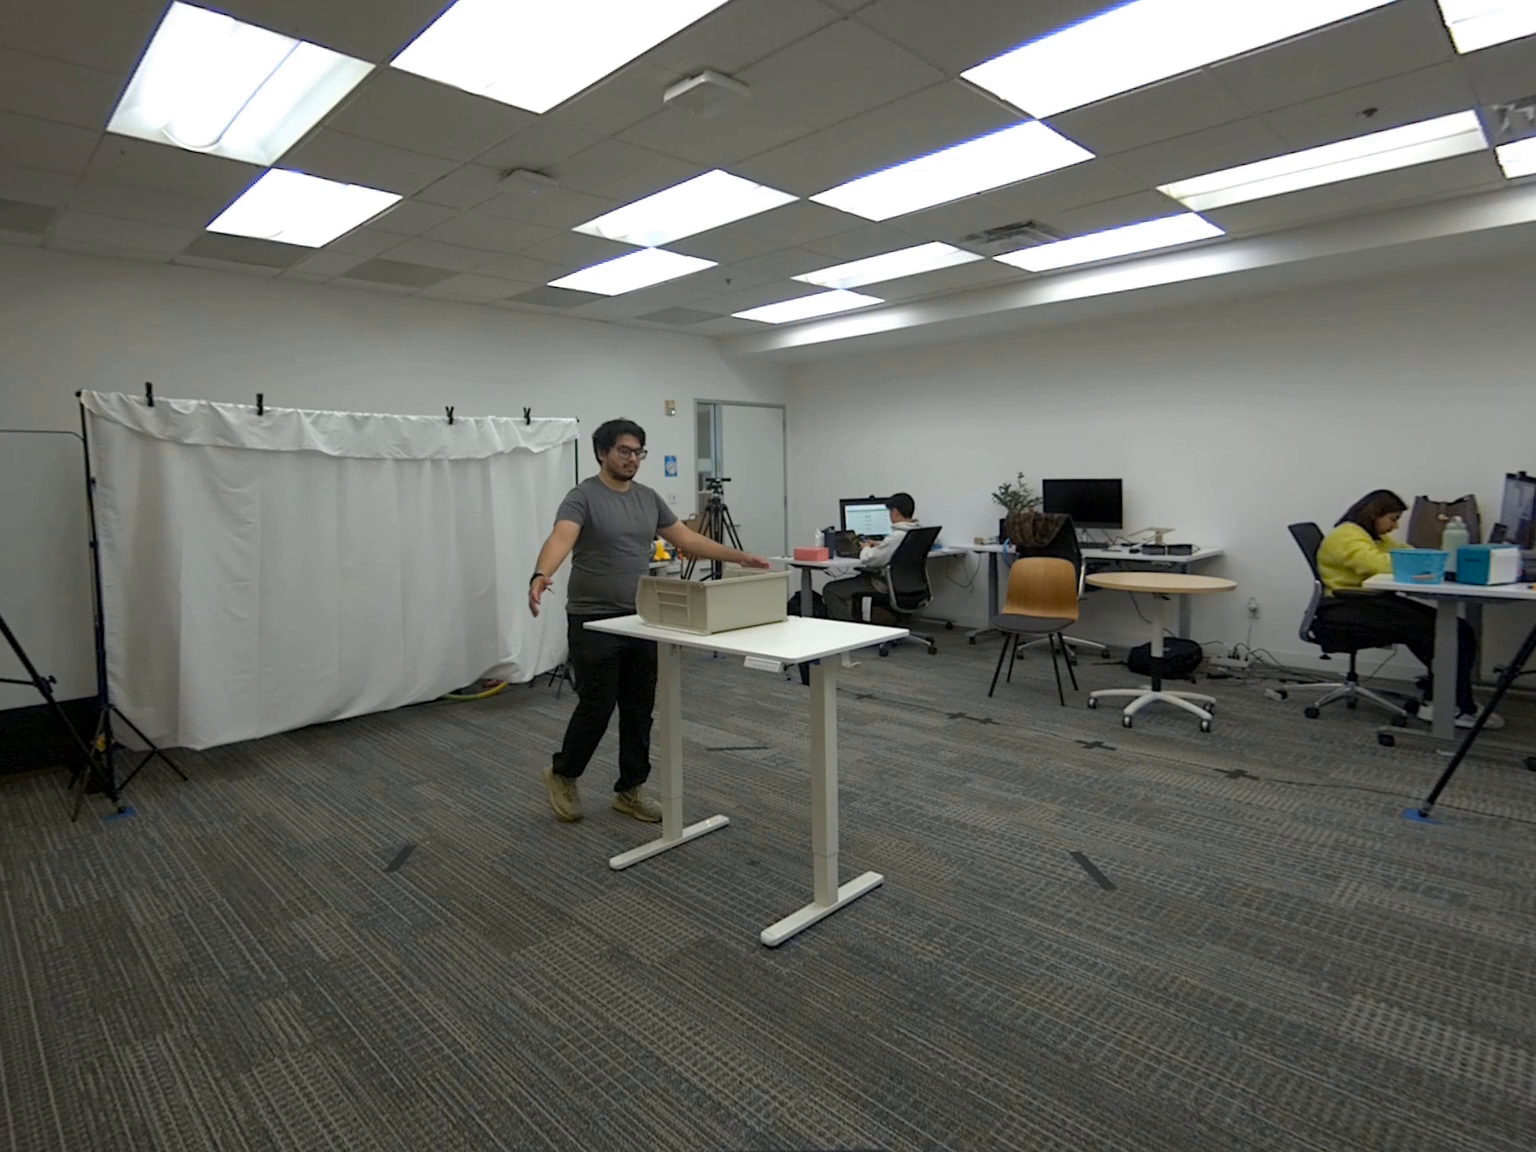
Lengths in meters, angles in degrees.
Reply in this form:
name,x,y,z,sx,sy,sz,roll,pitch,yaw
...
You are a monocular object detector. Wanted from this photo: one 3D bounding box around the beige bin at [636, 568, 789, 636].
name,x,y,z,sx,sy,sz,roll,pitch,yaw
beige bin,-0.197,0.083,3.046,0.411,0.188,0.389,-6,9,-44
